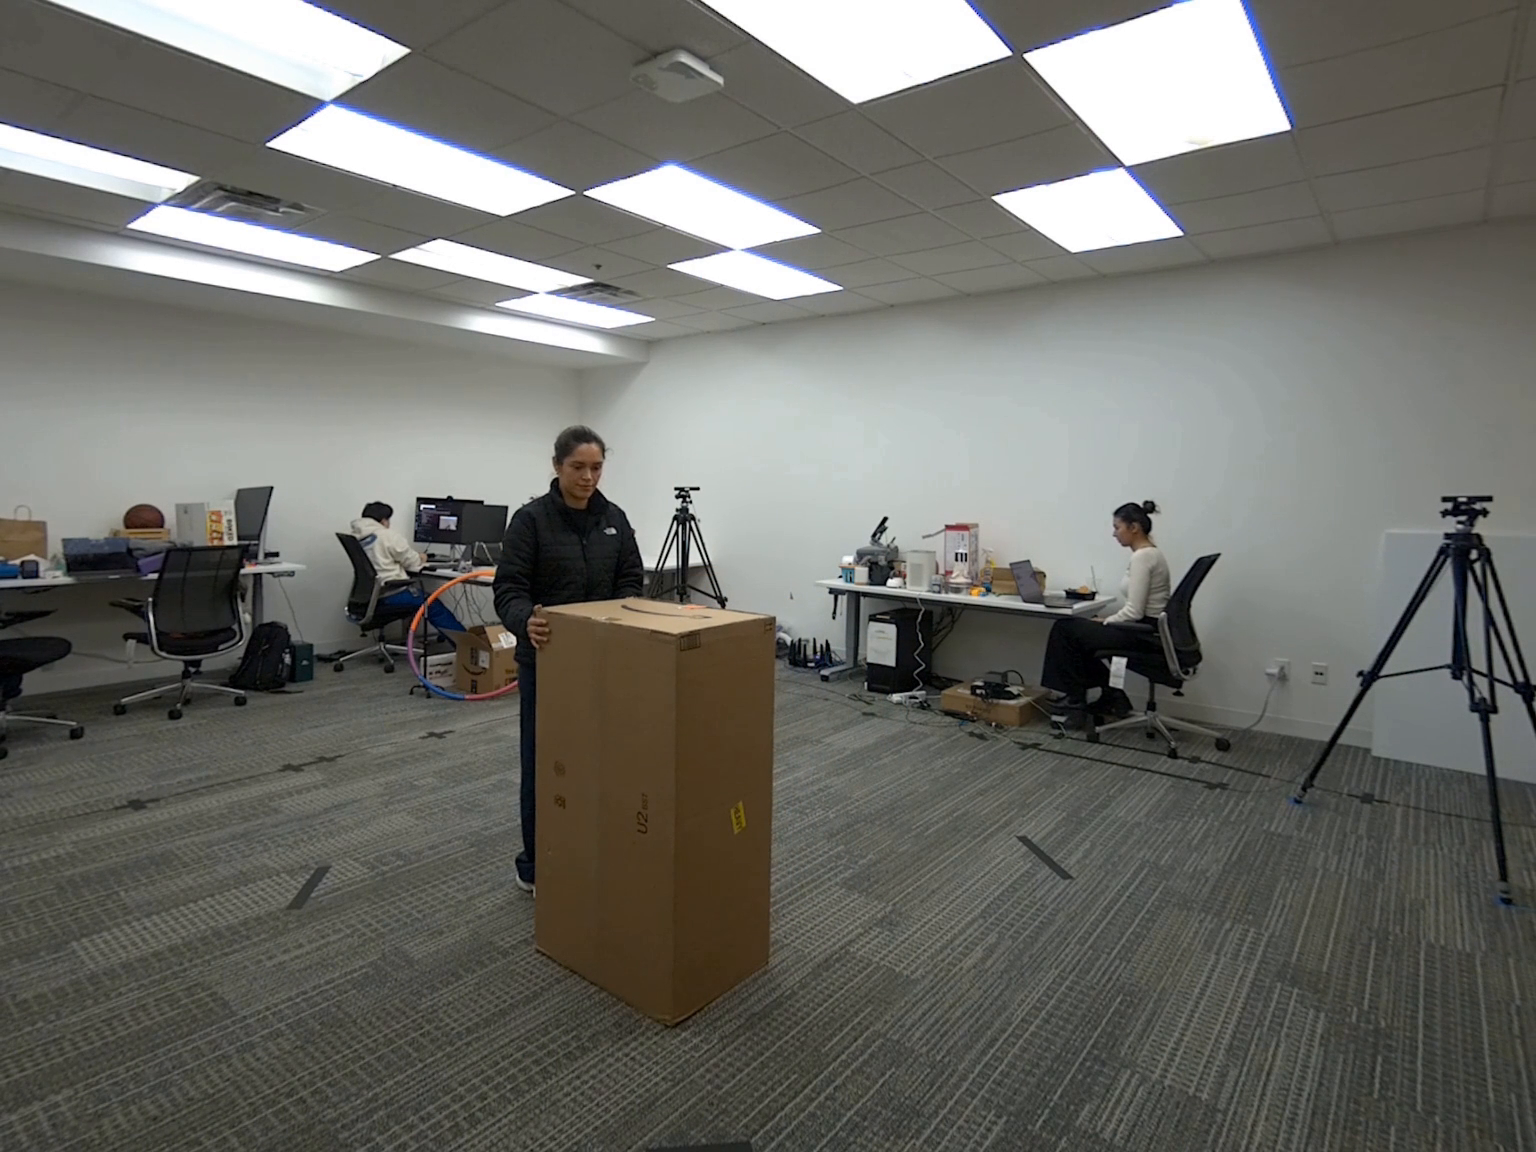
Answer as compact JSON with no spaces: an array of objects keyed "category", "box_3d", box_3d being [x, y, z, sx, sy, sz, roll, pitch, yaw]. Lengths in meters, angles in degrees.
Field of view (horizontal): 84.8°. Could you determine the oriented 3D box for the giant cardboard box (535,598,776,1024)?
[{"category":"giant cardboard box","box_3d":[-0.326,0.616,2.512,0.597,1.023,0.413,3,4,40]}]
